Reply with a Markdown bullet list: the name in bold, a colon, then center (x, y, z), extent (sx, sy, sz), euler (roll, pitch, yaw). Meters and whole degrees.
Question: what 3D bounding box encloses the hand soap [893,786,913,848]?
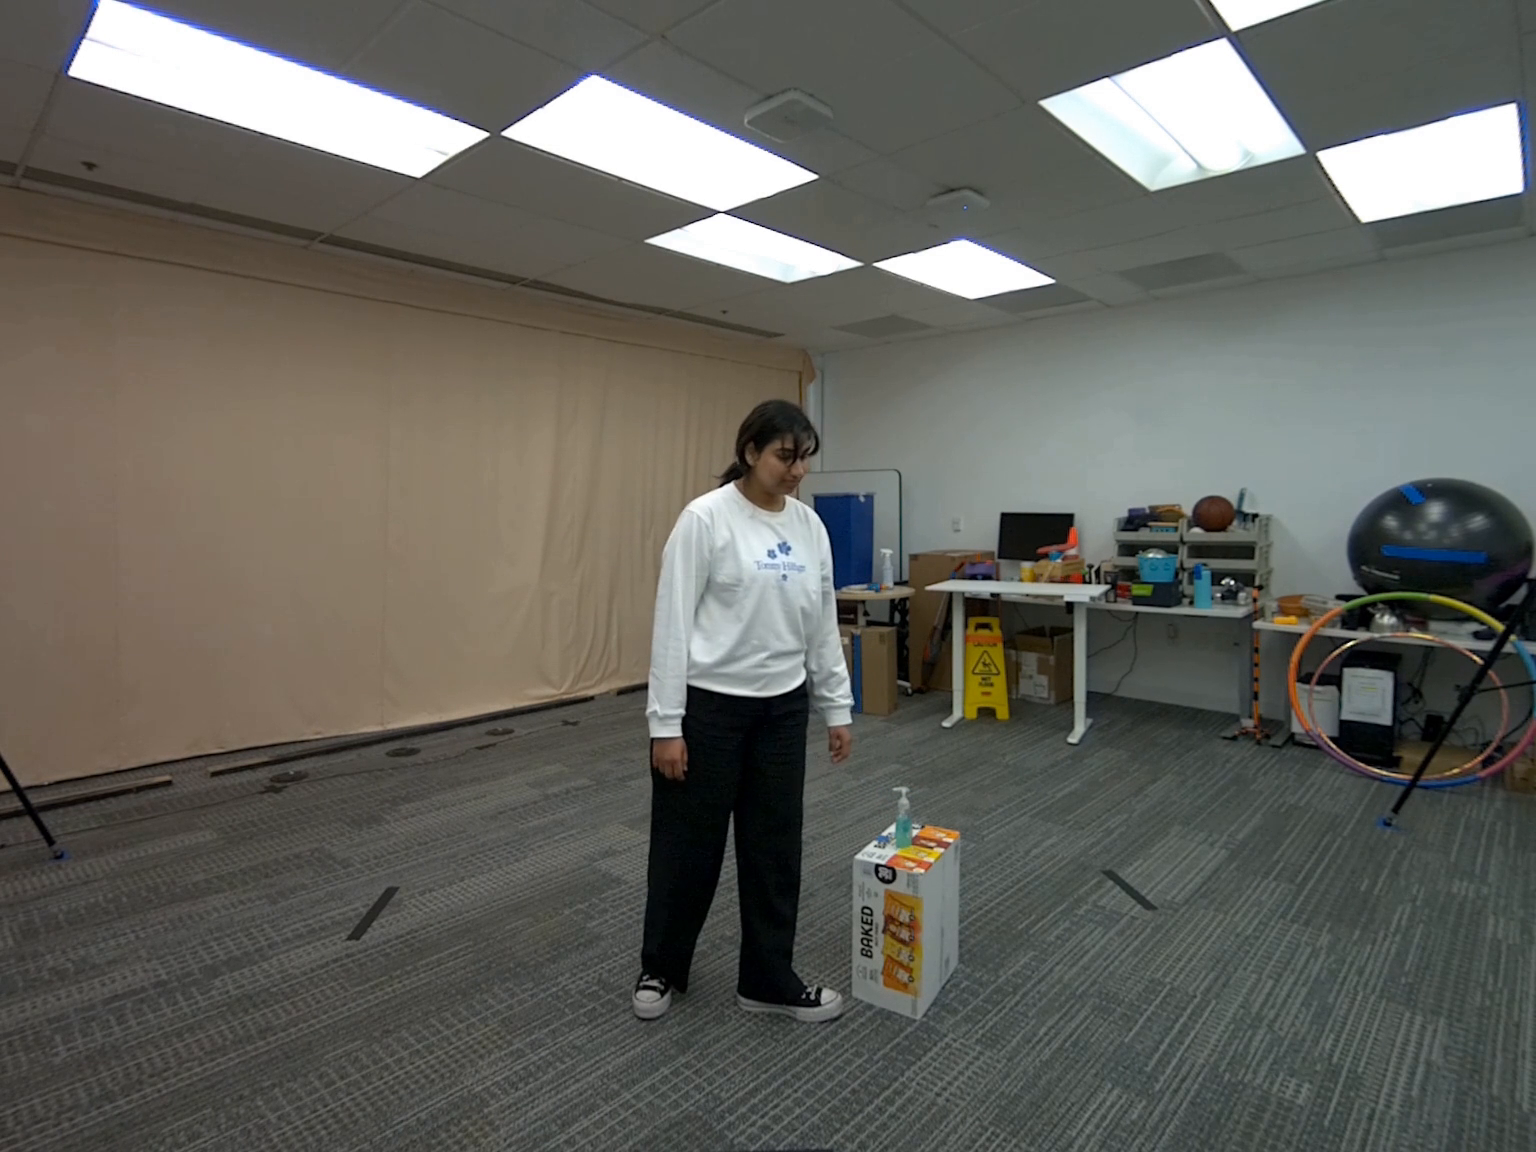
- **hand soap**: center (0.390, 0.698, 2.456), extent (0.044, 0.168, 0.083), euler (0, 1, 20)
